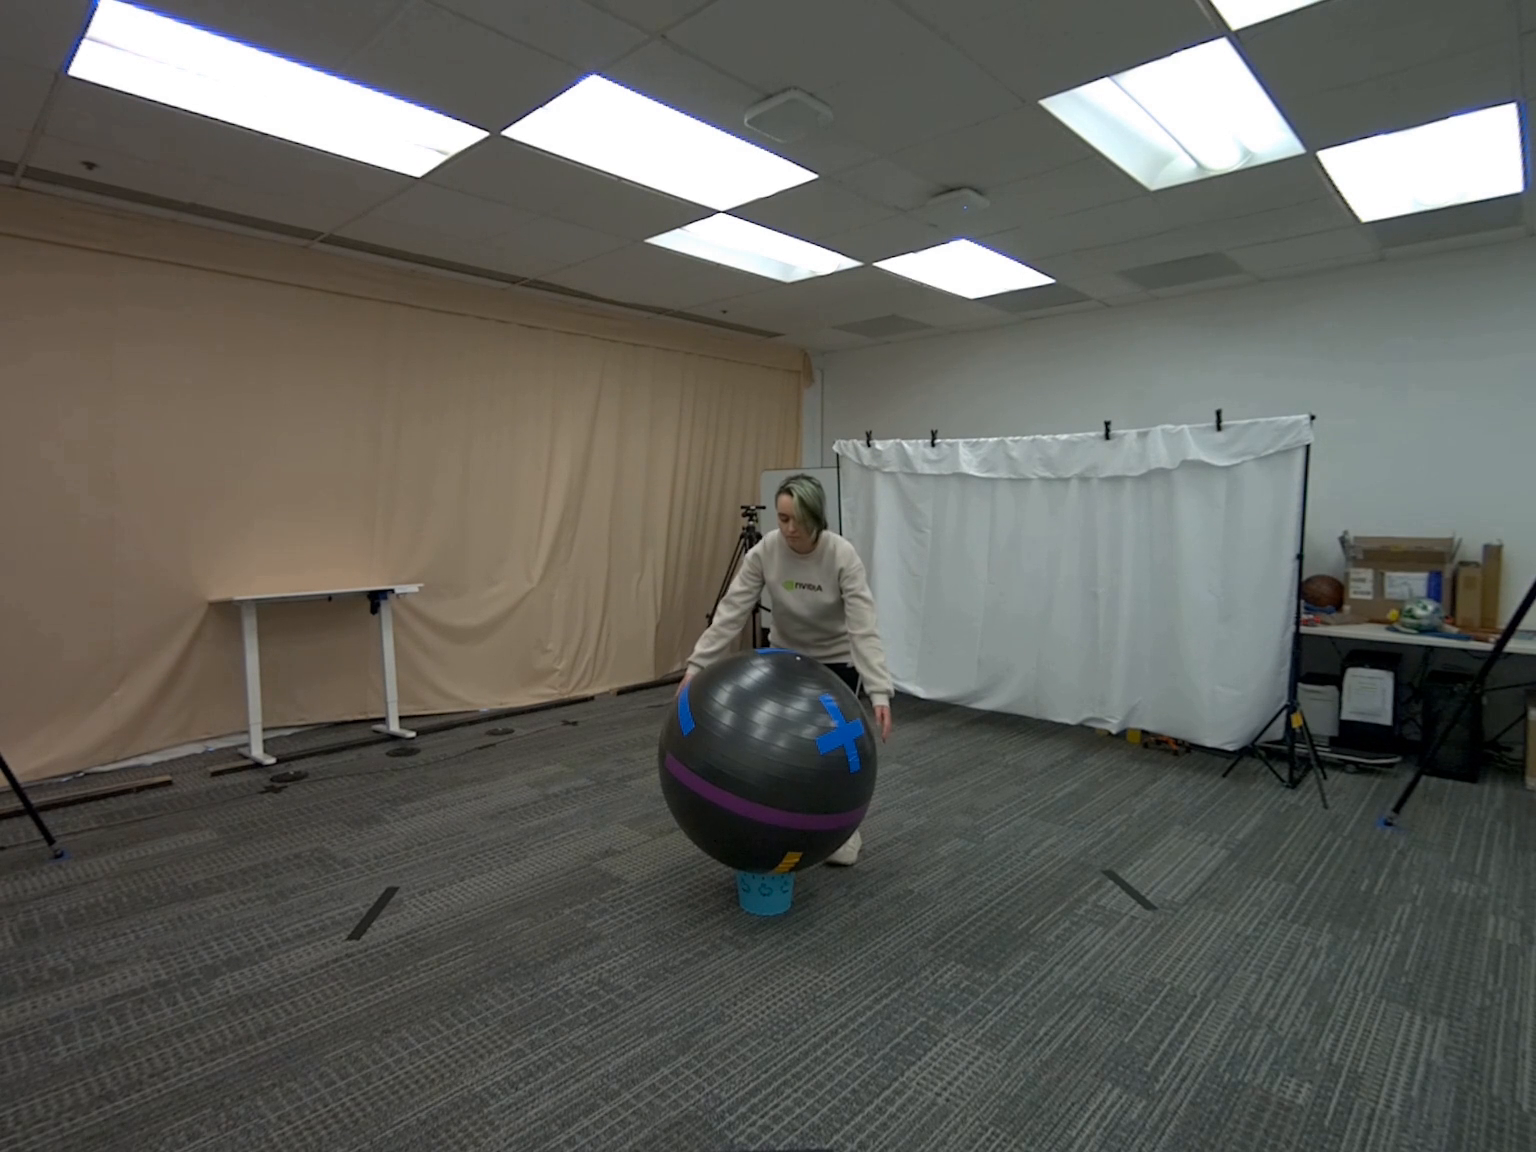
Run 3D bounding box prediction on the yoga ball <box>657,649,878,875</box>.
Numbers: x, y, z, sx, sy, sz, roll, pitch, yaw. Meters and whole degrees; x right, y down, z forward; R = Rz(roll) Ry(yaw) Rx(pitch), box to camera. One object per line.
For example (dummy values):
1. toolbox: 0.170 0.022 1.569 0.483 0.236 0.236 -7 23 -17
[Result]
1. yoga ball: -0.003 0.640 2.928 0.757 0.756 0.760 0 4 -2
